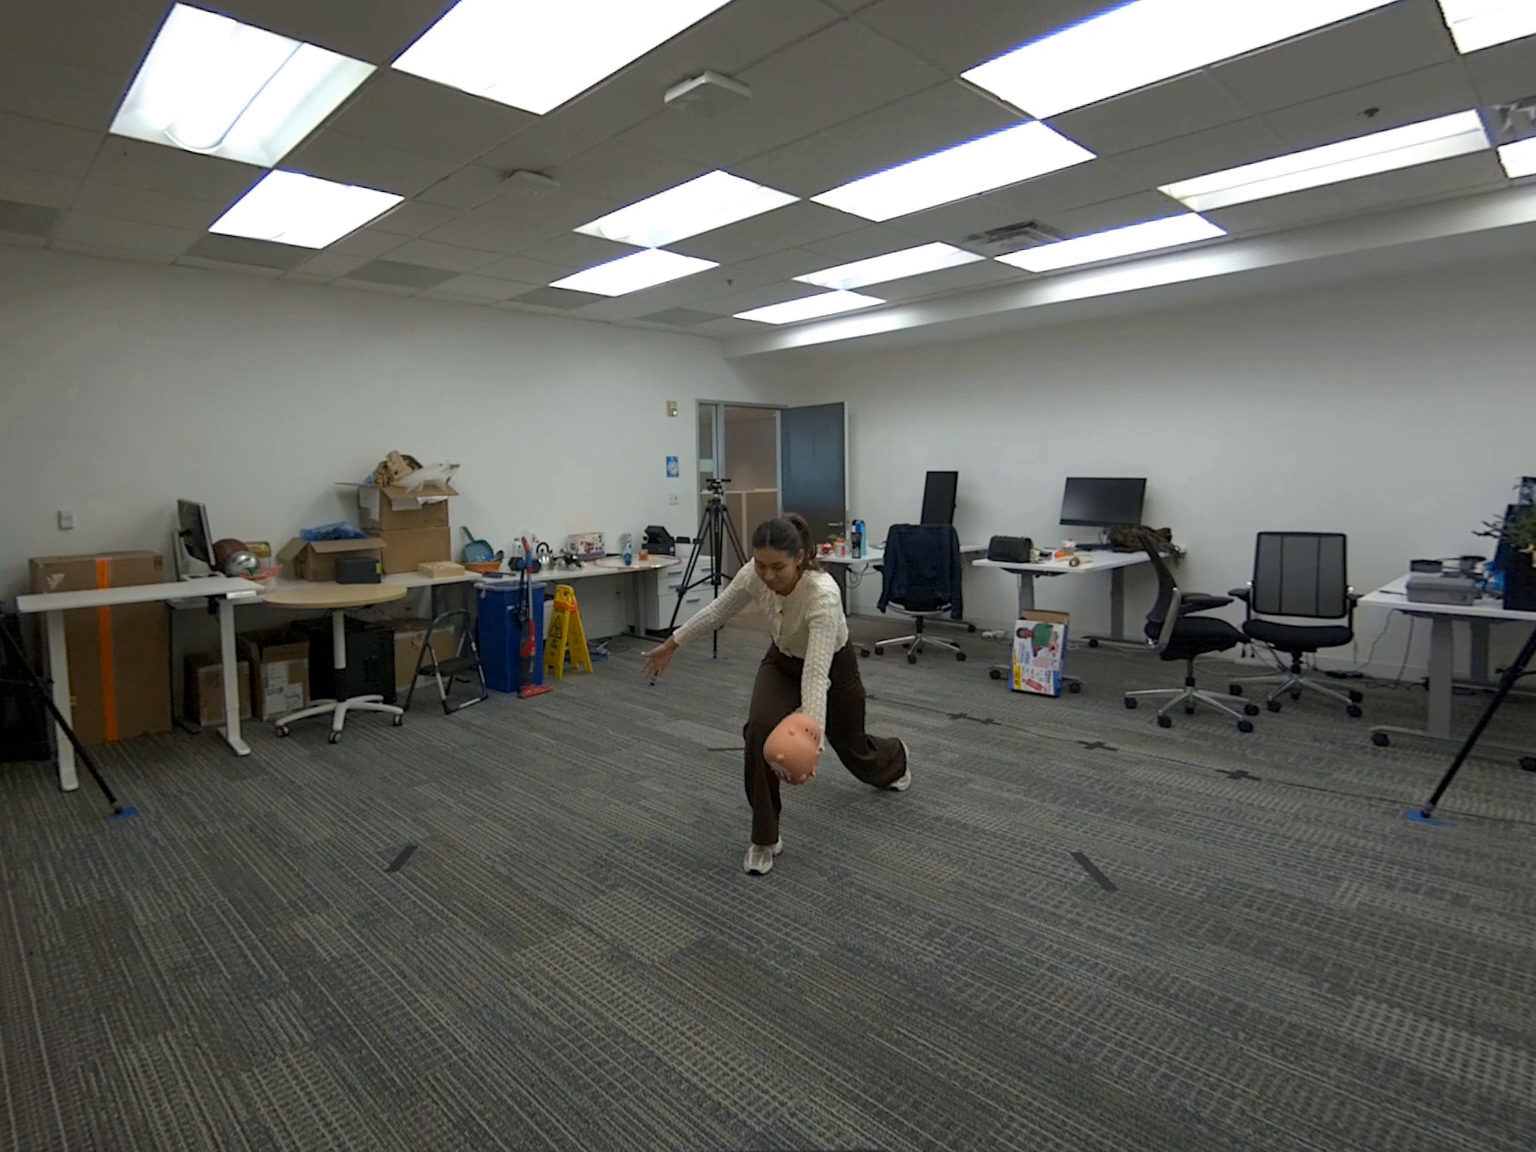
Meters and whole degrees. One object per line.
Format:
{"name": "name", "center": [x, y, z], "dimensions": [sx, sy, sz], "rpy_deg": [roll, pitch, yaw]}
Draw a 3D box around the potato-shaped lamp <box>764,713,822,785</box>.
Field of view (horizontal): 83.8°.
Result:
{"name": "potato-shaped lamp", "center": [0.090, 0.539, 2.717], "dimensions": [0.162, 0.199, 0.174], "rpy_deg": [43, -27, -14]}
